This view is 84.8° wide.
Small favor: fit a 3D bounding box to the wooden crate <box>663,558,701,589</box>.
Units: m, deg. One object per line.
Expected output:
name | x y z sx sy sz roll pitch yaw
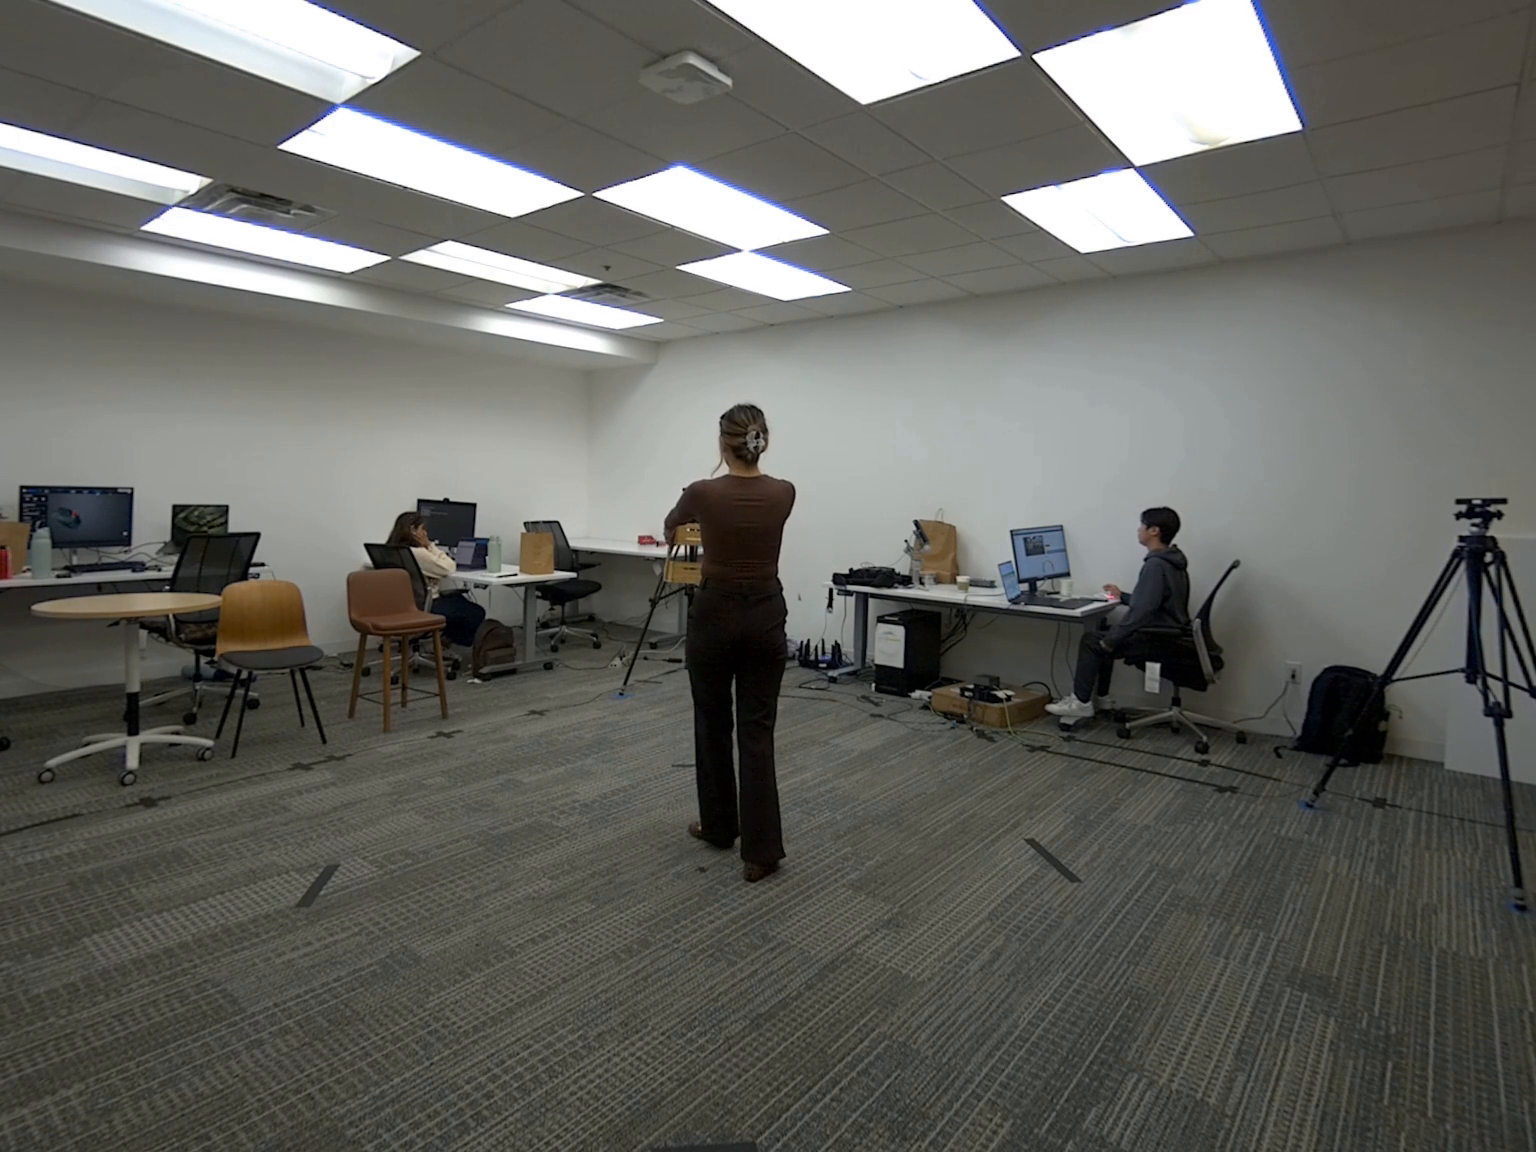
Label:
wooden crate | -0.304 -0.105 3.808 0.320 0.273 0.306 3 0 -13
